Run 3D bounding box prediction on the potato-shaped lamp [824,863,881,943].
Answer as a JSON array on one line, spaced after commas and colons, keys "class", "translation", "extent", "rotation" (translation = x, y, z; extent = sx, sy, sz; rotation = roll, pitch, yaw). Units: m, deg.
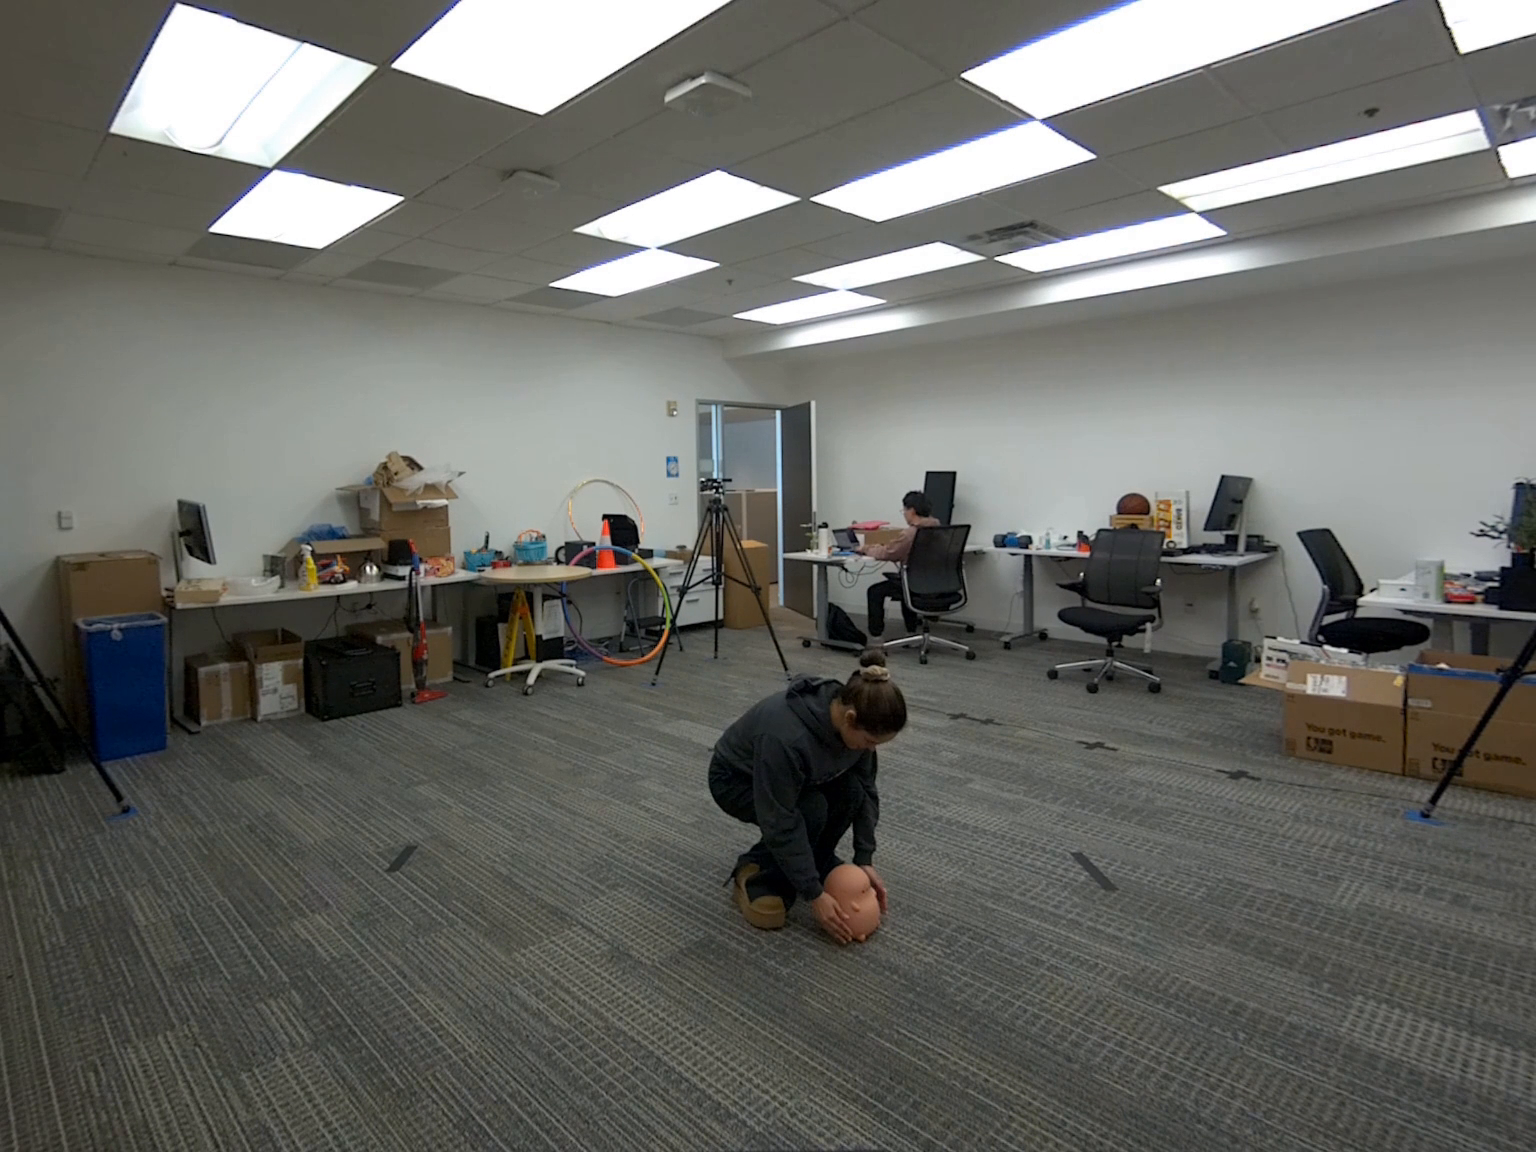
[{"class": "potato-shaped lamp", "translation": [0.242, 0.993, 2.628], "extent": [0.176, 0.197, 0.160], "rotation": [0, 4, 37]}]
